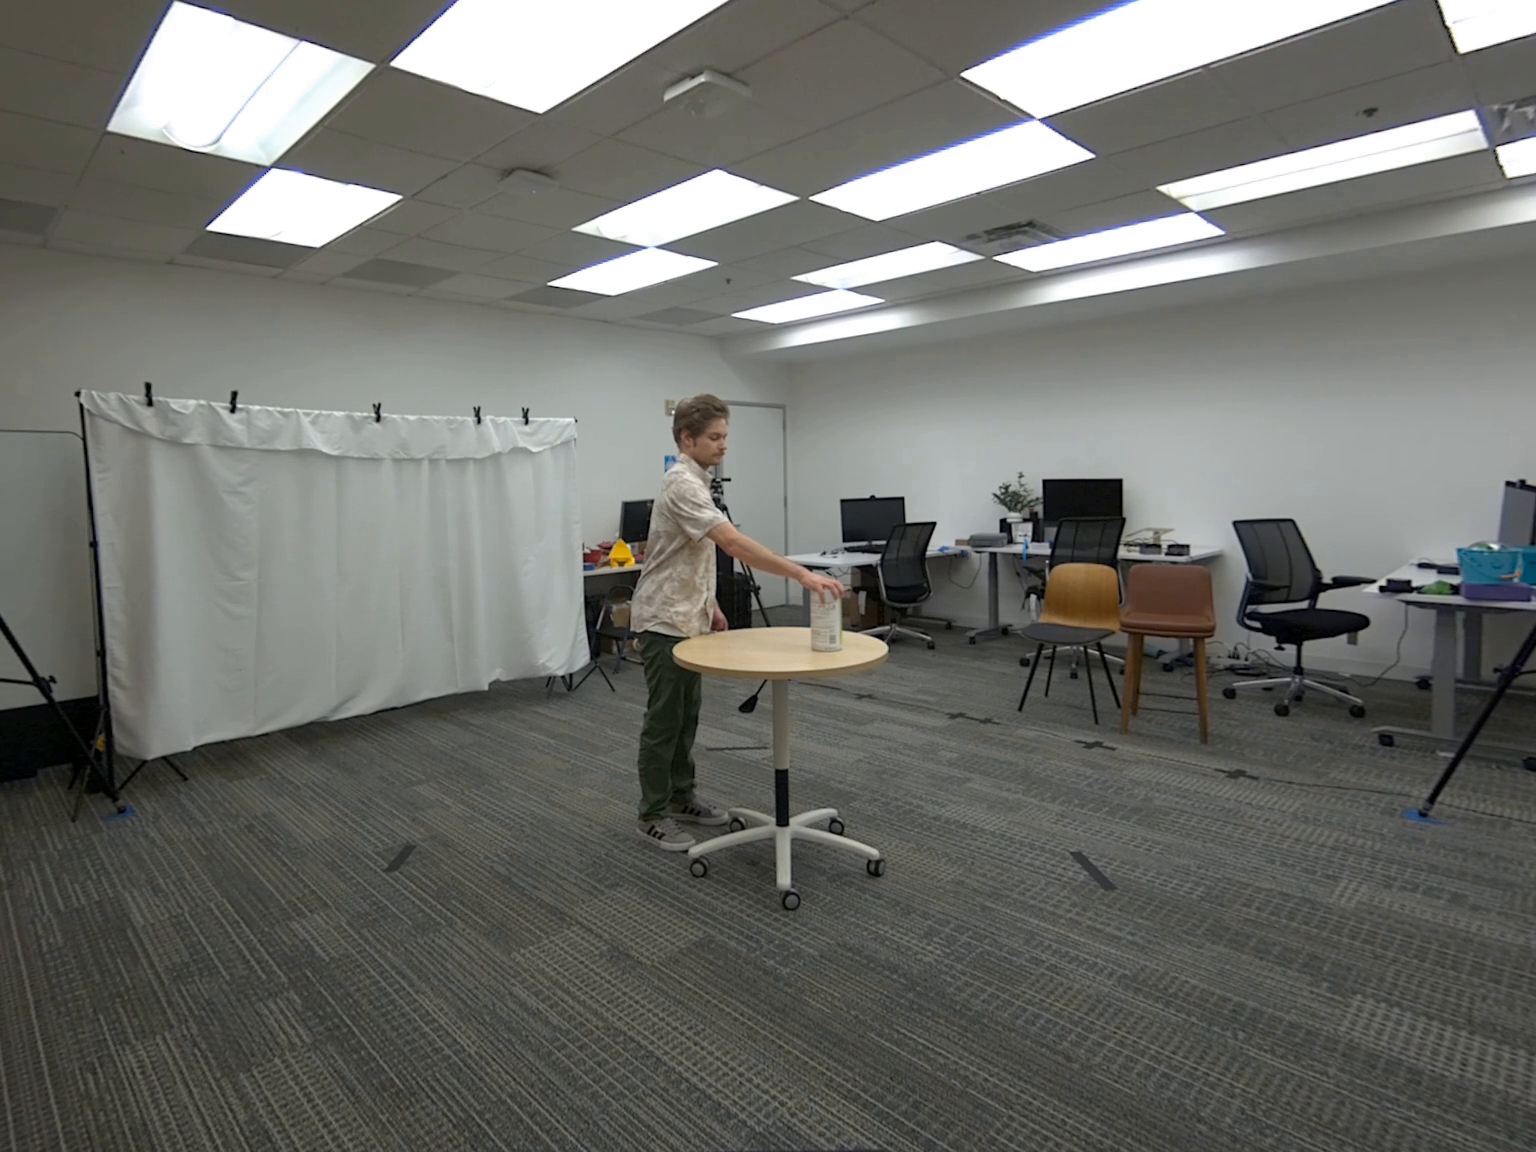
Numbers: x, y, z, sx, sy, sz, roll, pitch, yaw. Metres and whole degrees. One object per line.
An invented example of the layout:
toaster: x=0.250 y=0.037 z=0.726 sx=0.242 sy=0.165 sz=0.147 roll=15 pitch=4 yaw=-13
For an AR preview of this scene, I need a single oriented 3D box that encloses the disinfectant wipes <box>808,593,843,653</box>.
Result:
disinfectant wipes: x=0.206 y=0.148 z=2.992 sx=0.118 sy=0.217 sz=0.118 roll=-3 pitch=4 yaw=-1
